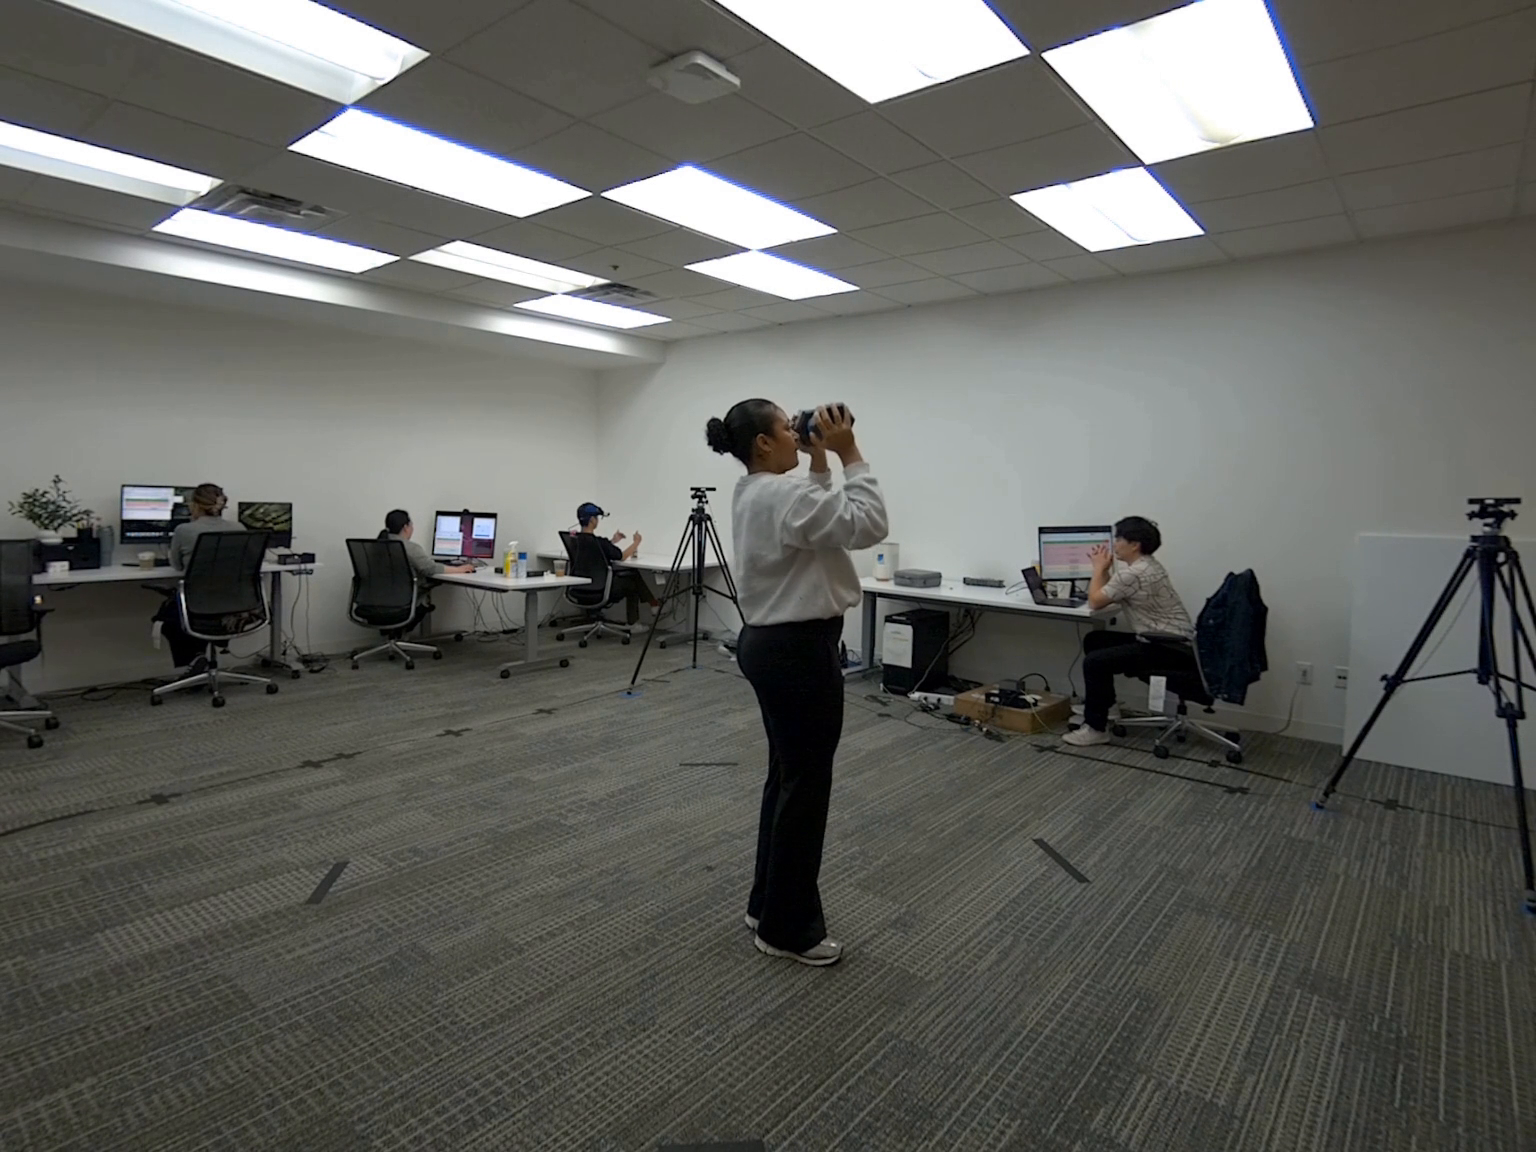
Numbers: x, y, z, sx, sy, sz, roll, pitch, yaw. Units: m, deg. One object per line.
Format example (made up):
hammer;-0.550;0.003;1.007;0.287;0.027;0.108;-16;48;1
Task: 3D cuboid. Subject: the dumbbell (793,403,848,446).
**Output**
dumbbell;0.142;-0.469;2.562;0.107;0.123;0.299;28;0;-15
